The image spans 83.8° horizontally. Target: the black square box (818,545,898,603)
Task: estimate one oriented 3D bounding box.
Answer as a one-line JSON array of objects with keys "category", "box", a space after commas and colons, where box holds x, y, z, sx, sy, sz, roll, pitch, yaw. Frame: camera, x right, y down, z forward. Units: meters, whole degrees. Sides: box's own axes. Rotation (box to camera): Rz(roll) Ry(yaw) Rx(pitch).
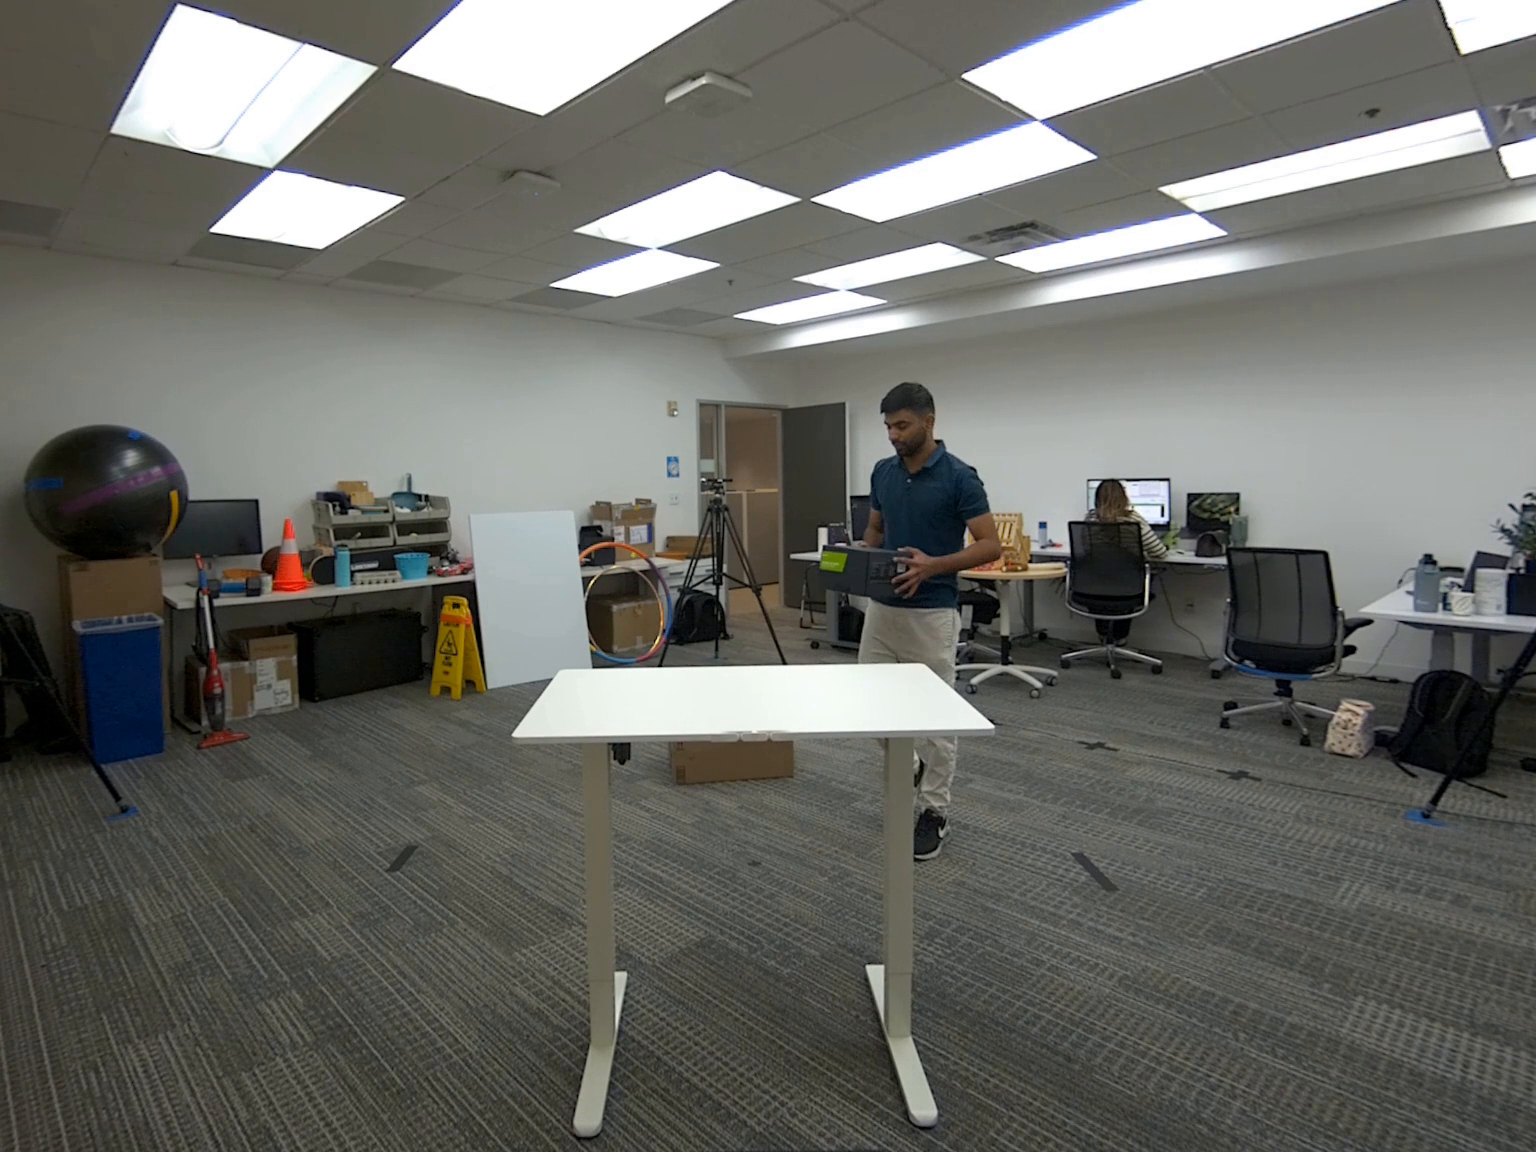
[{"category": "black square box", "box": [0.335, -0.021, 3.008, 0.211, 0.155, 0.235, 1, 6, -38]}]
